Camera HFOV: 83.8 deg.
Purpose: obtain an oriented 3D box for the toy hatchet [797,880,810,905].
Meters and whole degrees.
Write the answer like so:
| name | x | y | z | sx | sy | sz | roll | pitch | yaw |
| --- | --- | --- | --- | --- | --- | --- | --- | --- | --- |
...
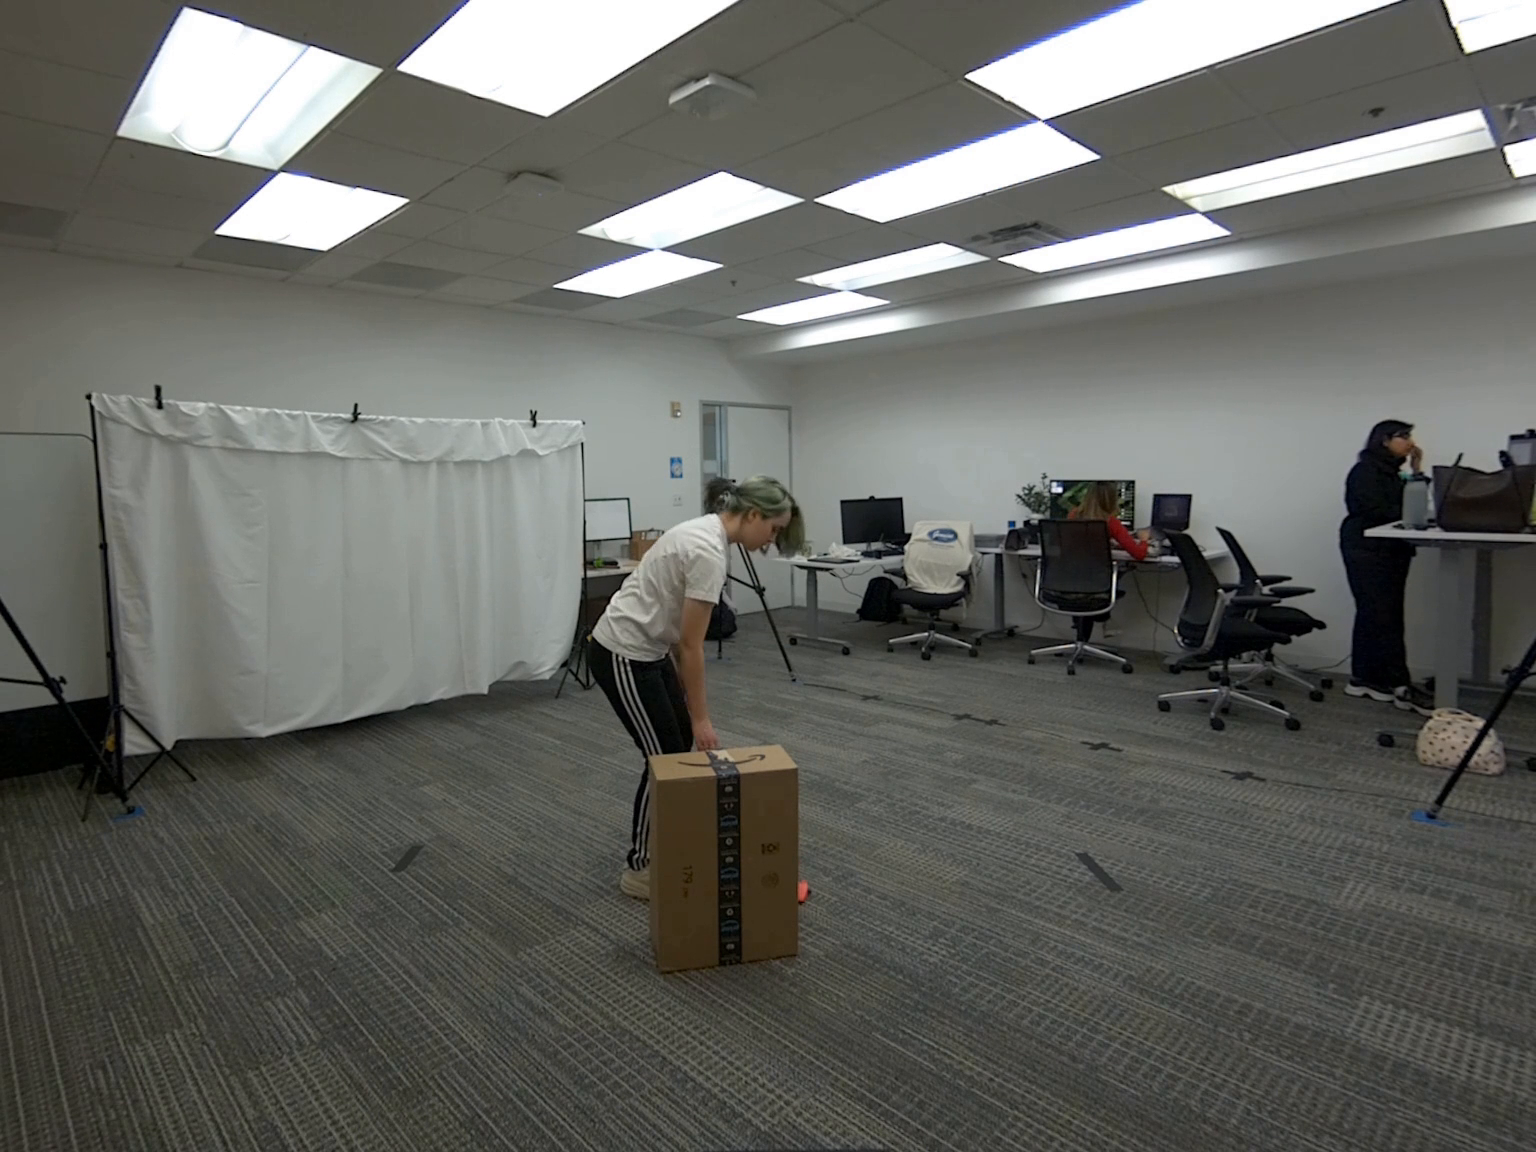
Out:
| name | x | y | z | sx | sy | sz | roll | pitch | yaw |
| --- | --- | --- | --- | --- | --- | --- | --- | --- | --- |
| toy hatchet | 0.015 | 1.062 | 2.848 | 0.267 | 0.029 | 0.133 | -4 | 9 | -11 |
